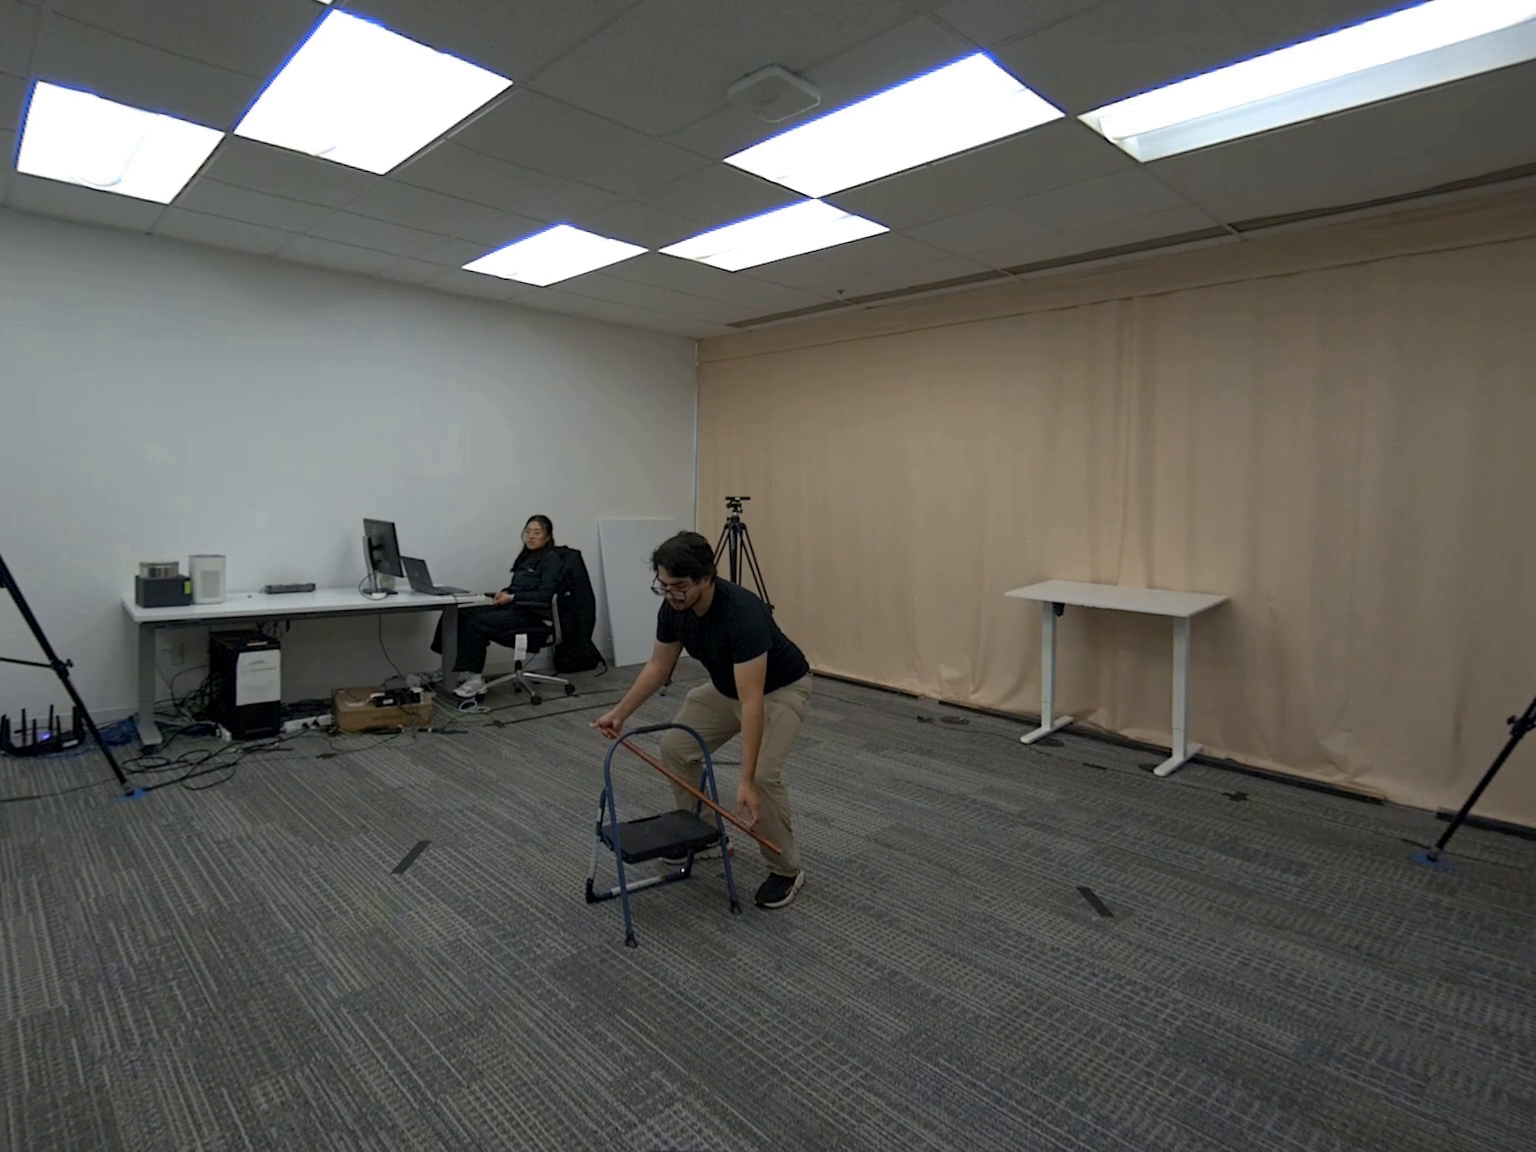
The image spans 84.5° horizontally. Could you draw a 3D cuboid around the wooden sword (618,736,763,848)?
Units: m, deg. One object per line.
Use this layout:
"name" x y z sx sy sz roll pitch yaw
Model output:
"wooden sword" -0.371 0.705 2.864 0.050 0.024 1.055 -13 22 -34
